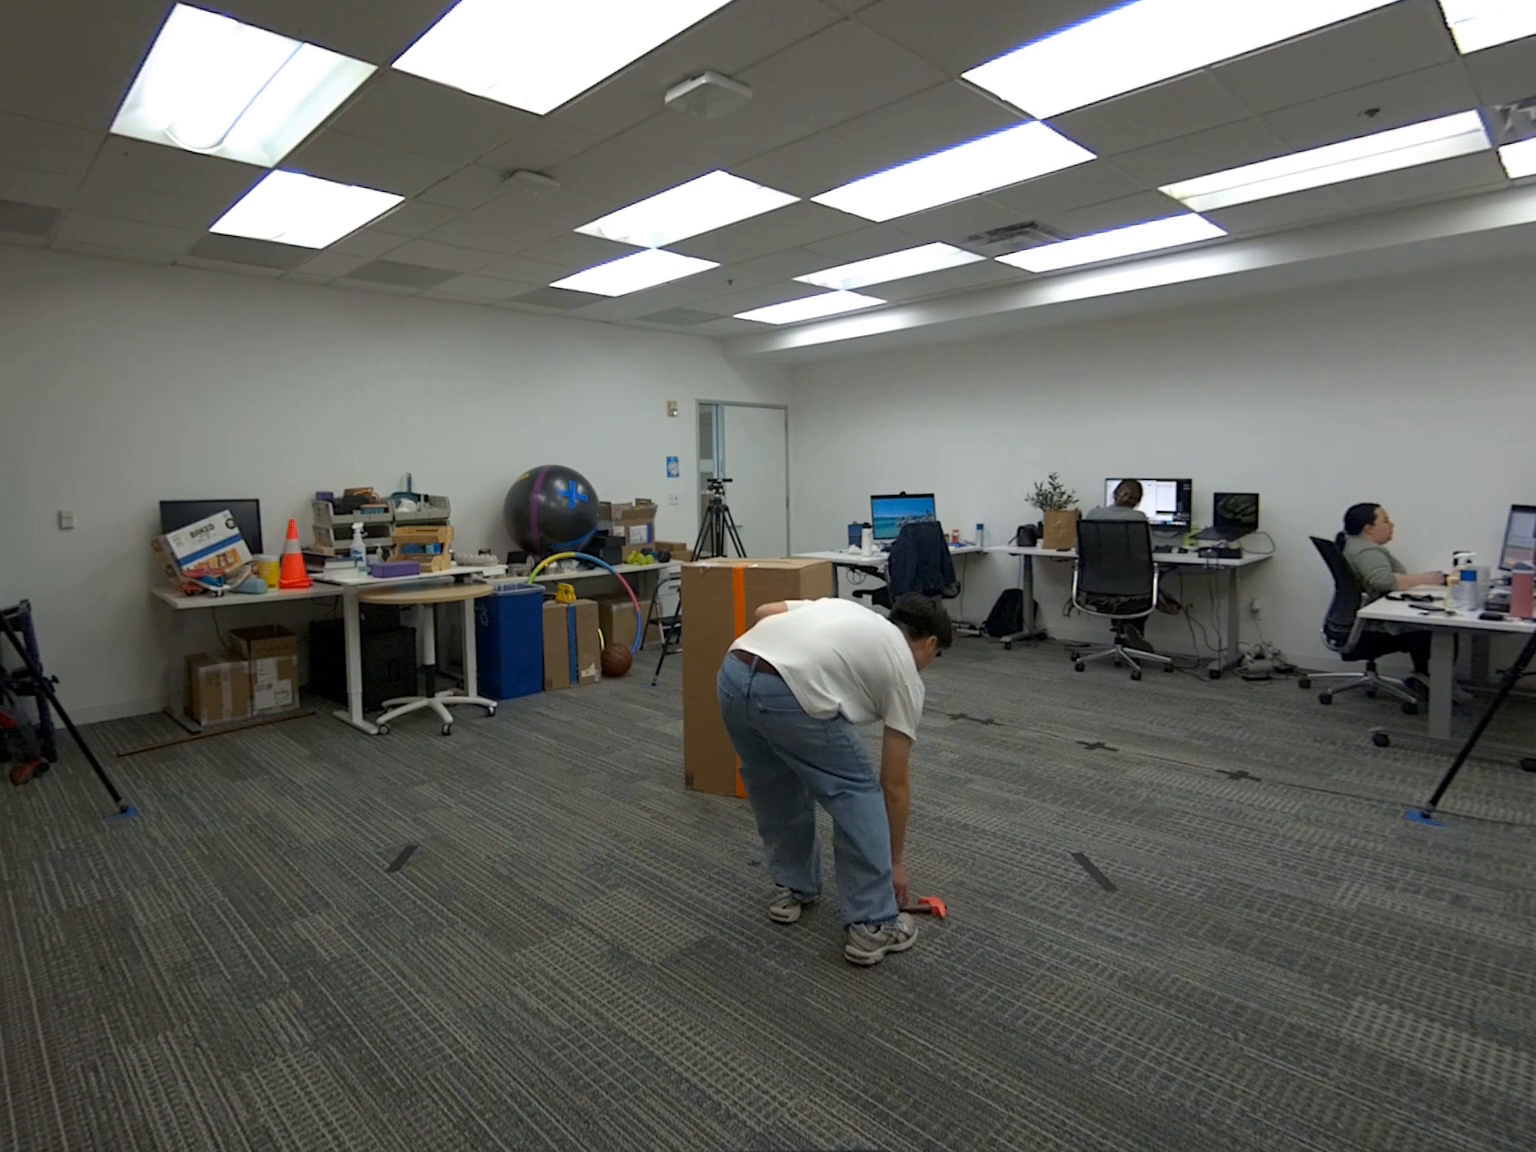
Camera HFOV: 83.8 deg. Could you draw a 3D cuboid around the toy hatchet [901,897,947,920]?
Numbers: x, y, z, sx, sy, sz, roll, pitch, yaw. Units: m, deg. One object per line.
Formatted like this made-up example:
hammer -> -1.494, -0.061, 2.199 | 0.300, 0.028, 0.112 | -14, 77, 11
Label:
toy hatchet -> 0.434, 1.056, 2.765 | 0.274, 0.029, 0.129 | 0, 6, 16
